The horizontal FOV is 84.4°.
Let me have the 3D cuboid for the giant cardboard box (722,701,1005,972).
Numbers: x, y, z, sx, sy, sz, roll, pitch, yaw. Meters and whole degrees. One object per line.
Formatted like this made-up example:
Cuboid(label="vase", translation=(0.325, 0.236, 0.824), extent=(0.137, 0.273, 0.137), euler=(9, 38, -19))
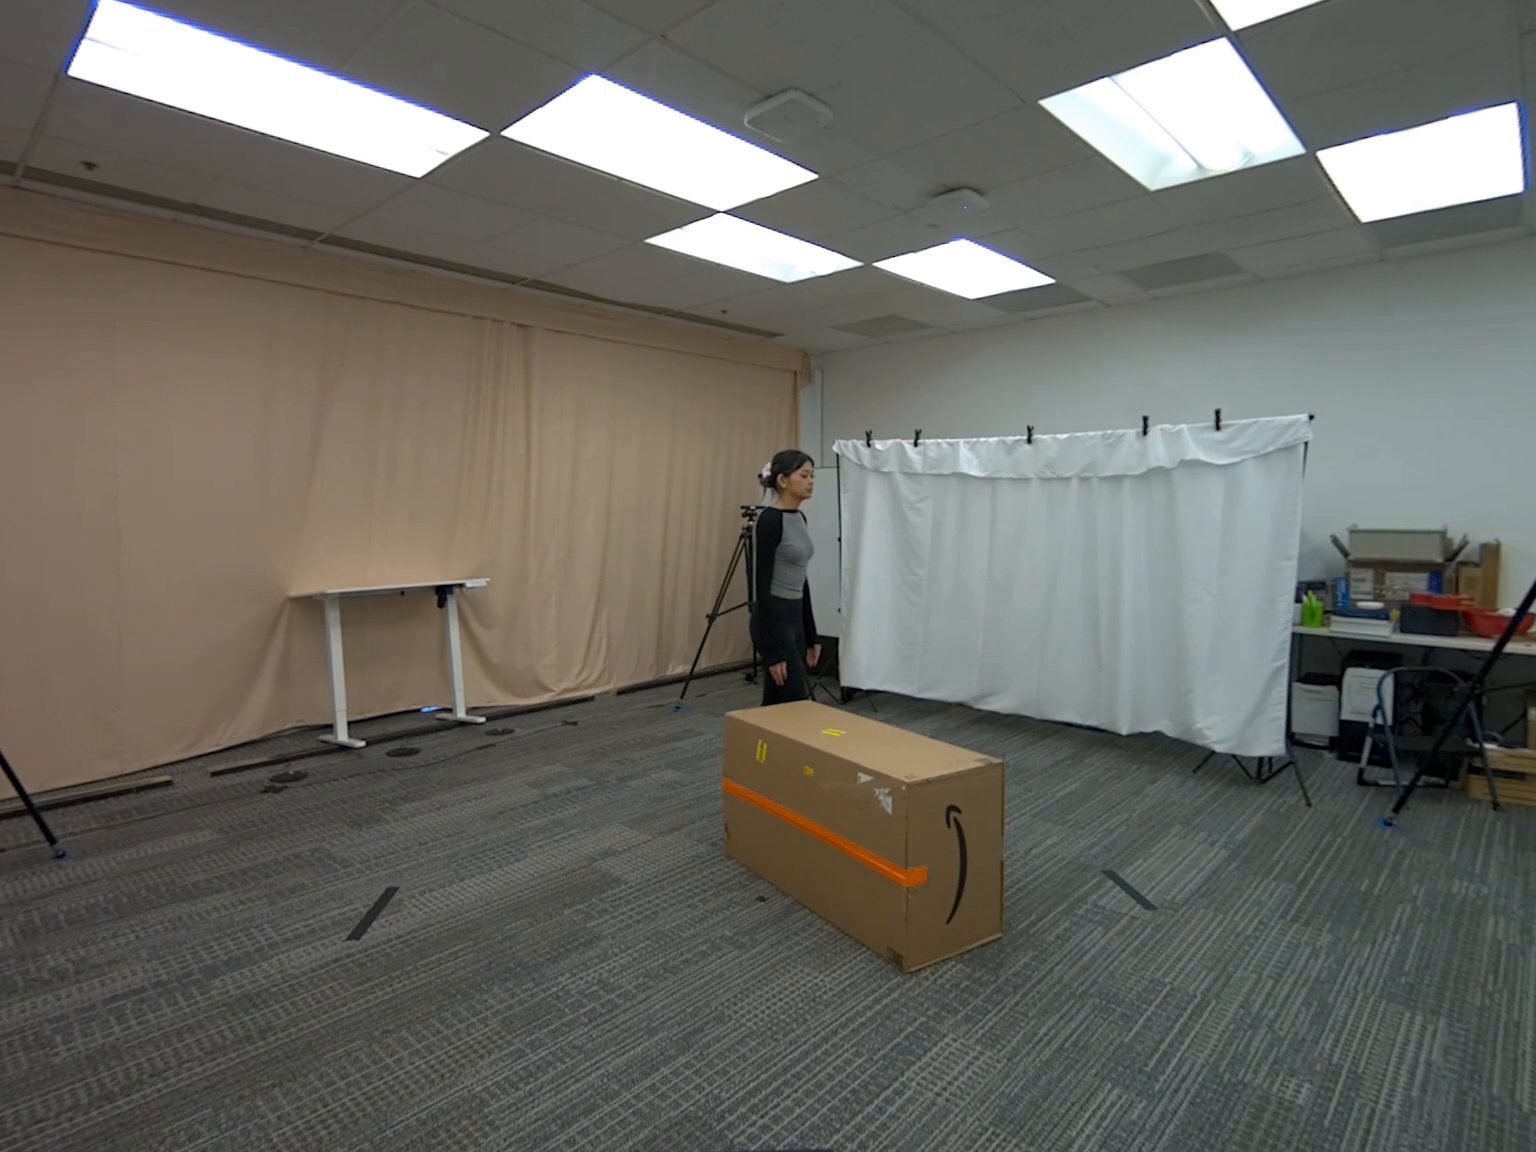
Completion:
Cuboid(label="giant cardboard box", translation=(0.292, 0.853, 3.023), extent=(0.414, 0.576, 1.057), euler=(-2, 4, -34))
